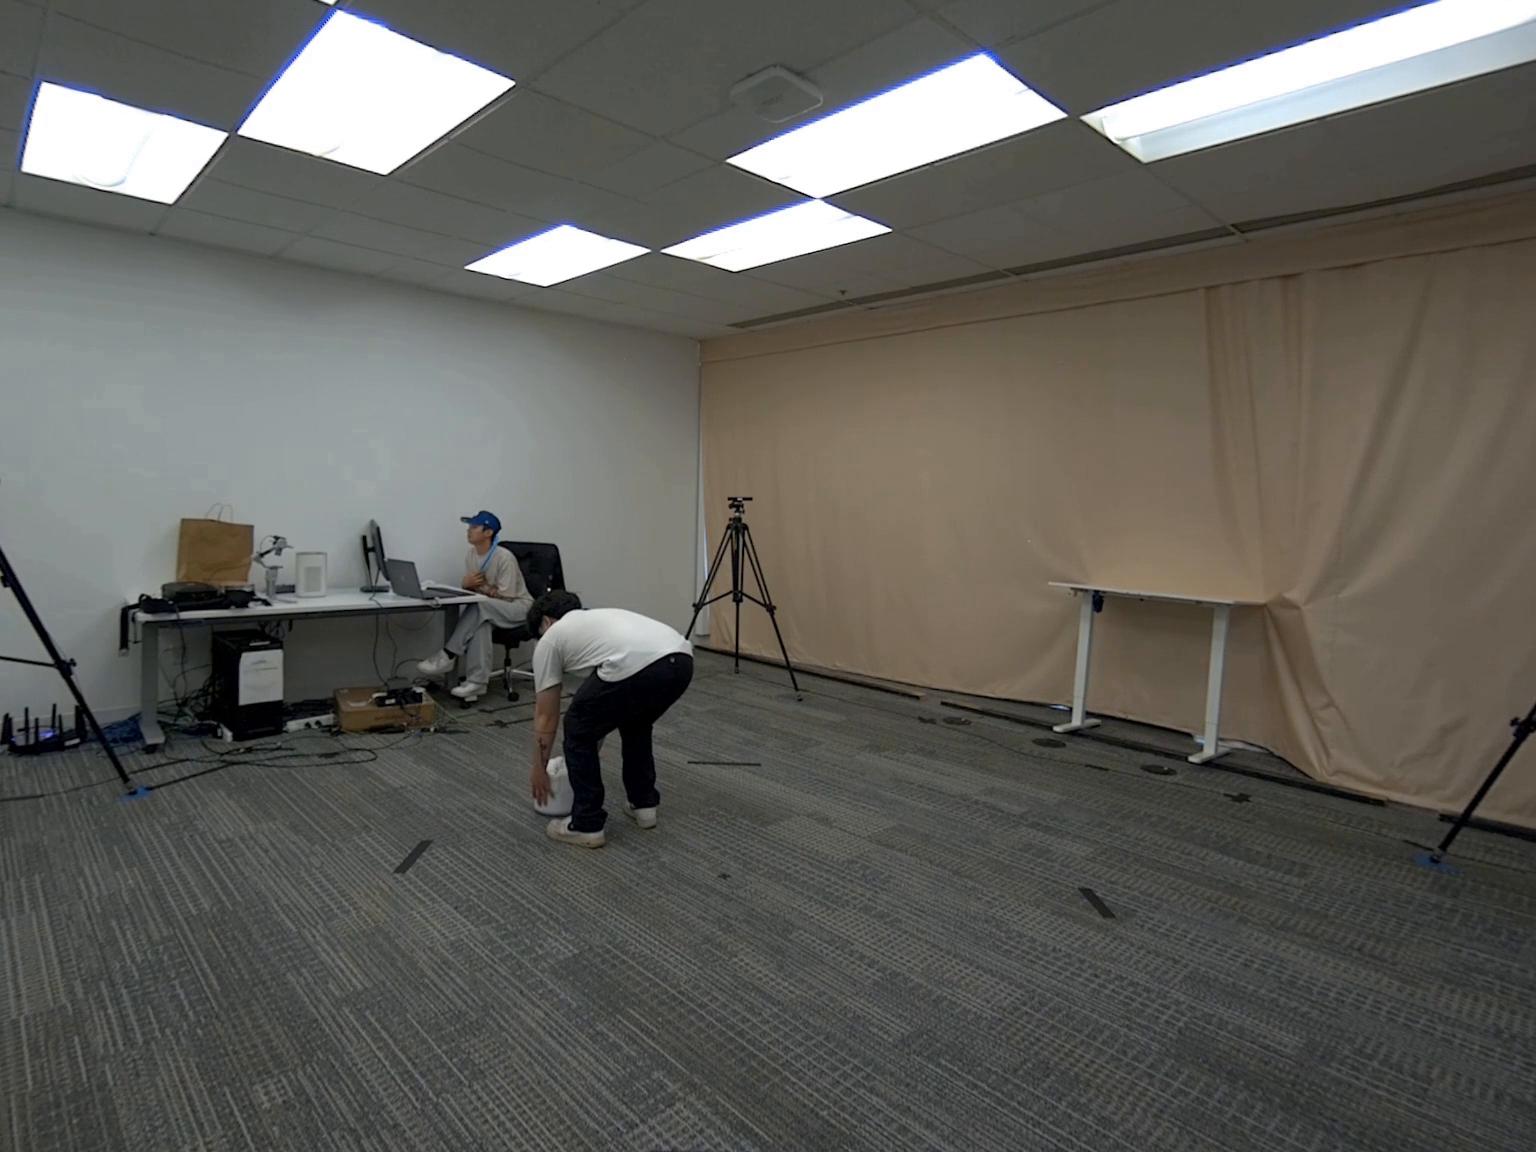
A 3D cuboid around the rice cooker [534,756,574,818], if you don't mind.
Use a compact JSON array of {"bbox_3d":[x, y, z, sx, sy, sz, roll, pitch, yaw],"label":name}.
[{"bbox_3d":[-0.929,0.916,3.722,0.217,0.231,0.221,0,7,0],"label":"rice cooker"}]
